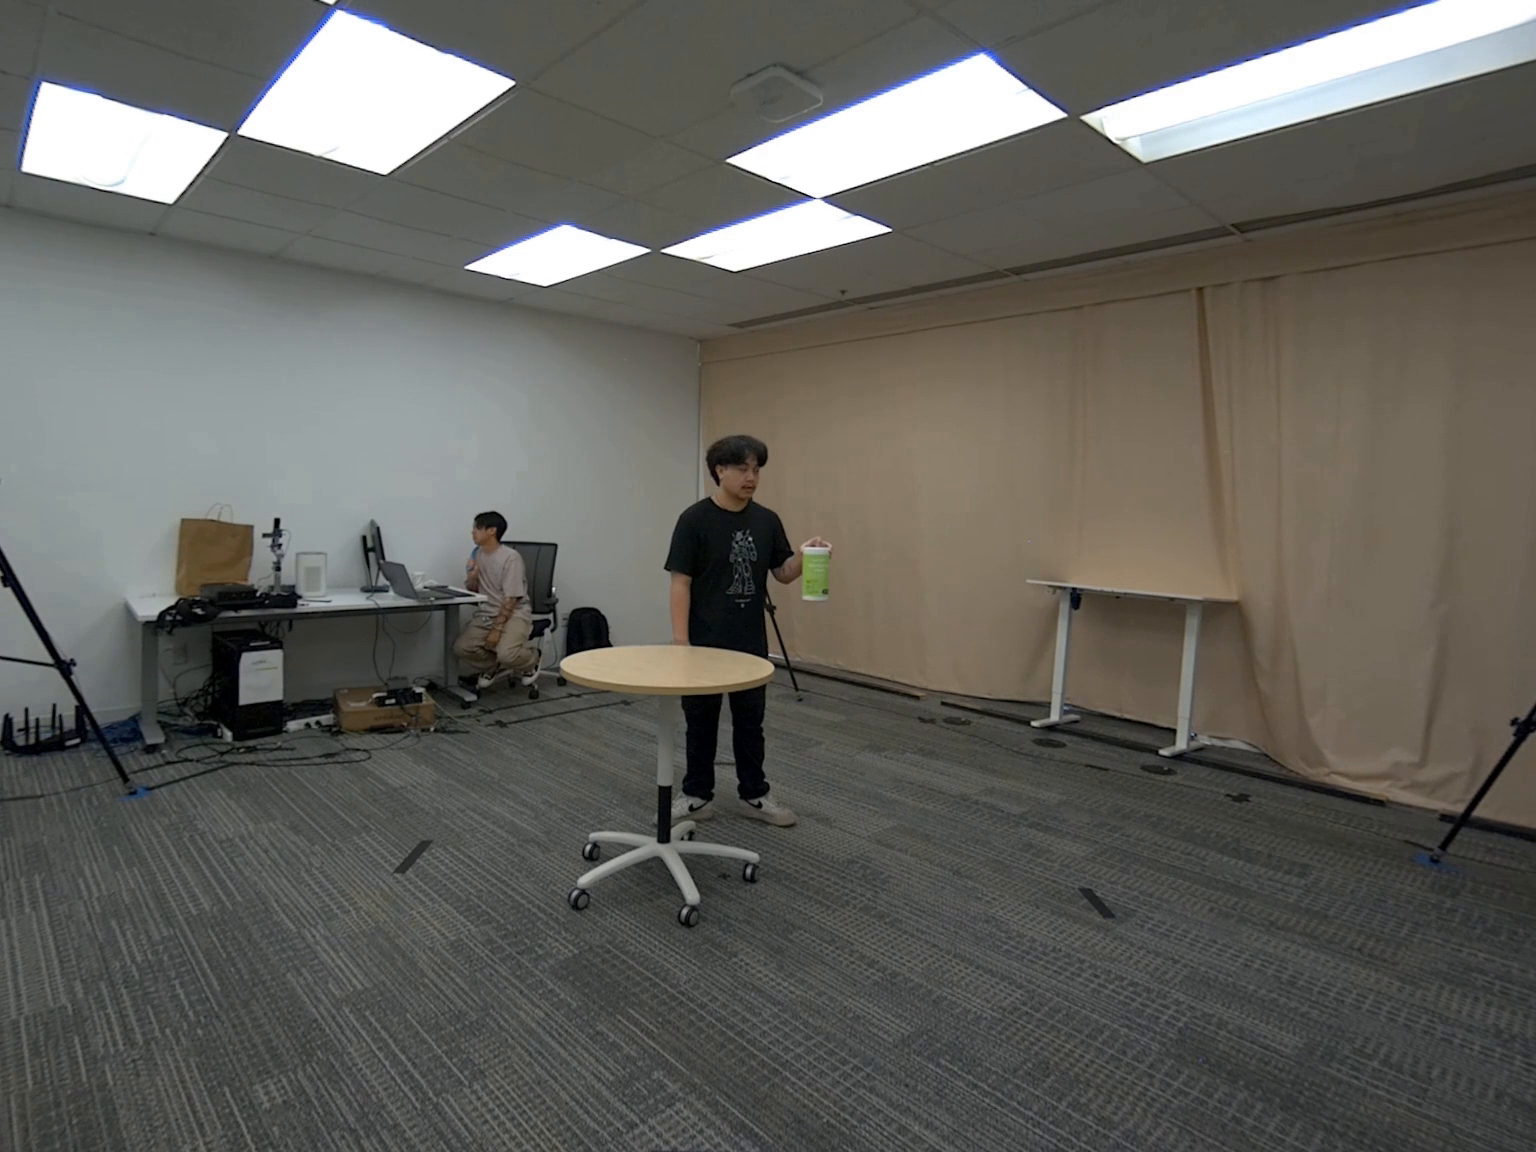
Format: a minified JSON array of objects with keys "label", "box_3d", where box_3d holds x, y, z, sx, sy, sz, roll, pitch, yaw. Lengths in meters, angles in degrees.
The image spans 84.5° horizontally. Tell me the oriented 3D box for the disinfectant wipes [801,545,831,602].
[{"label":"disinfectant wipes","box_3d":[0.178,-0.007,3.387,0.118,0.217,0.118,1,3,-1]}]
